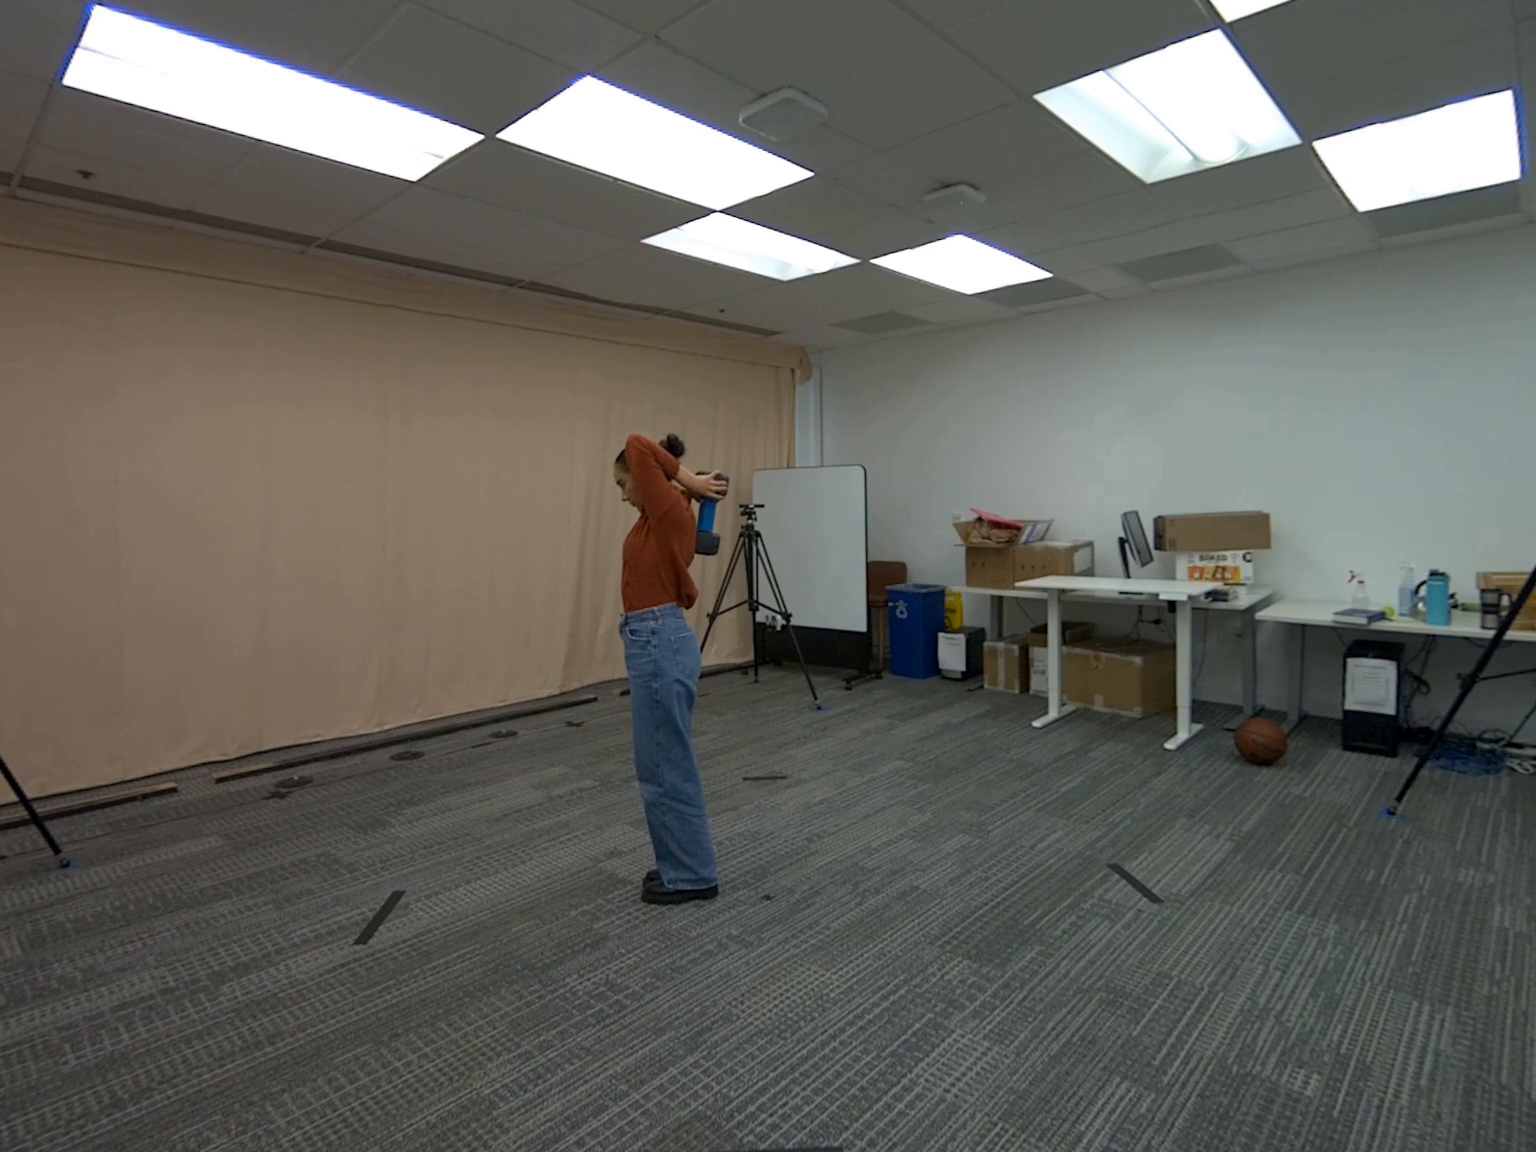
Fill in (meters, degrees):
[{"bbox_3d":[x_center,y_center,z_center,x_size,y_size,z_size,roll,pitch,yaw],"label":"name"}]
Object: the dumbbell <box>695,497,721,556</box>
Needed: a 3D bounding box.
[{"bbox_3d":[-0.216,-0.223,3.003,0.122,0.292,0.110,3,6,-7],"label":"dumbbell"}]
